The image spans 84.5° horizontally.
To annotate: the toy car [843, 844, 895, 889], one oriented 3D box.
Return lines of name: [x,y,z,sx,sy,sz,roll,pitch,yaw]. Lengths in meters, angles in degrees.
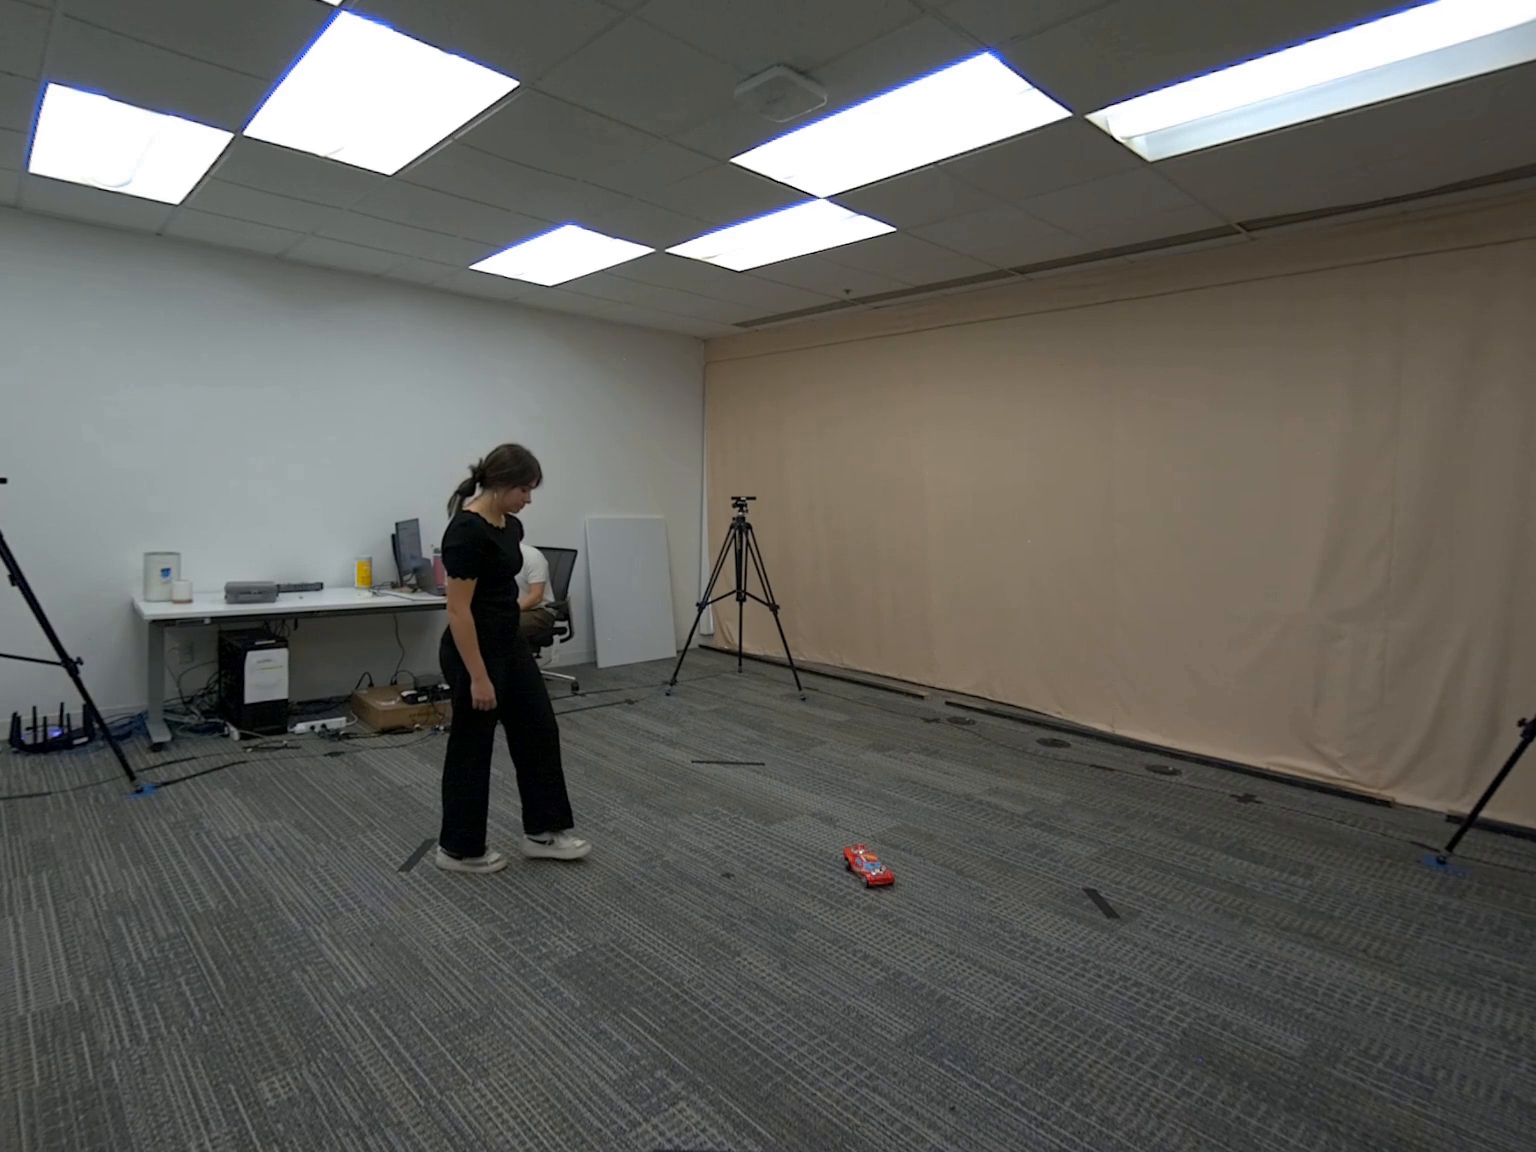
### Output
toy car: [0.362,1.082,3.138,0.128,0.082,0.260,1,16,-19]
